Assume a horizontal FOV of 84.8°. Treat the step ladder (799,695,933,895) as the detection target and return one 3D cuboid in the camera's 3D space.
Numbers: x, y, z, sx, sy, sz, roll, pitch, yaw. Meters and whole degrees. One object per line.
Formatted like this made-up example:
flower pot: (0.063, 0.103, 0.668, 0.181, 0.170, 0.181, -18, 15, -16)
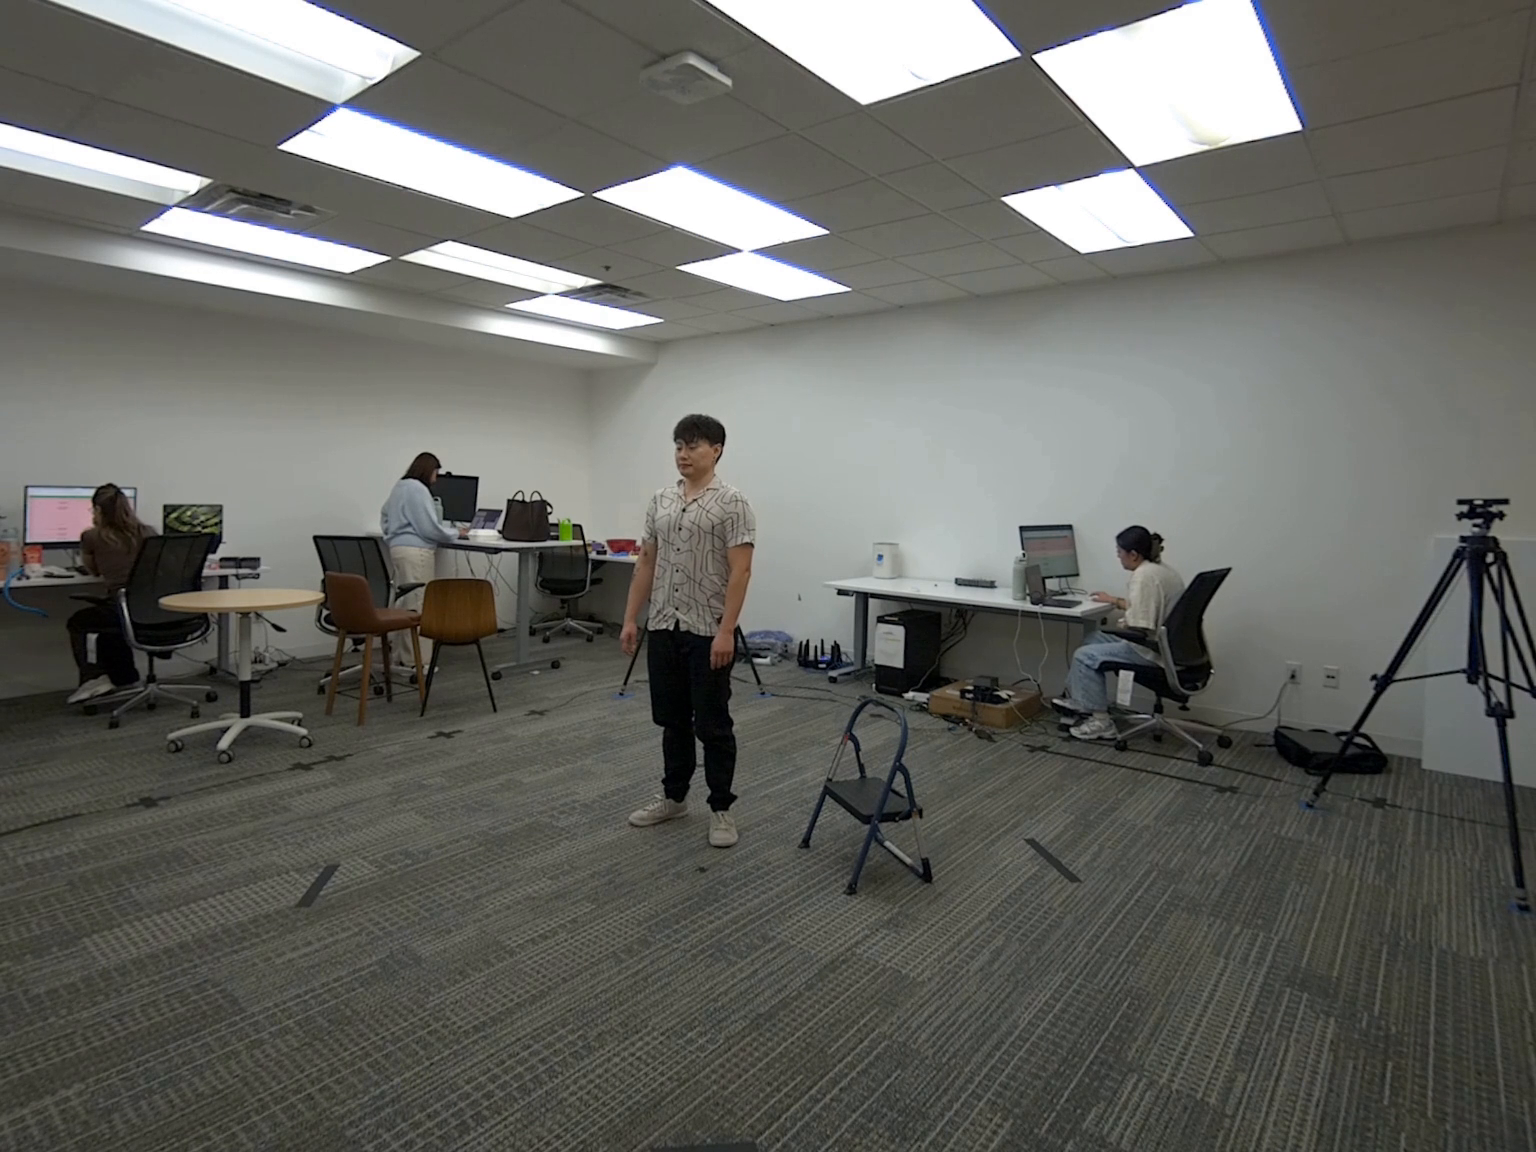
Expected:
step ladder: (0.360, 0.771, 3.174, 0.342, 0.604, 0.441, 0, 4, -21)
